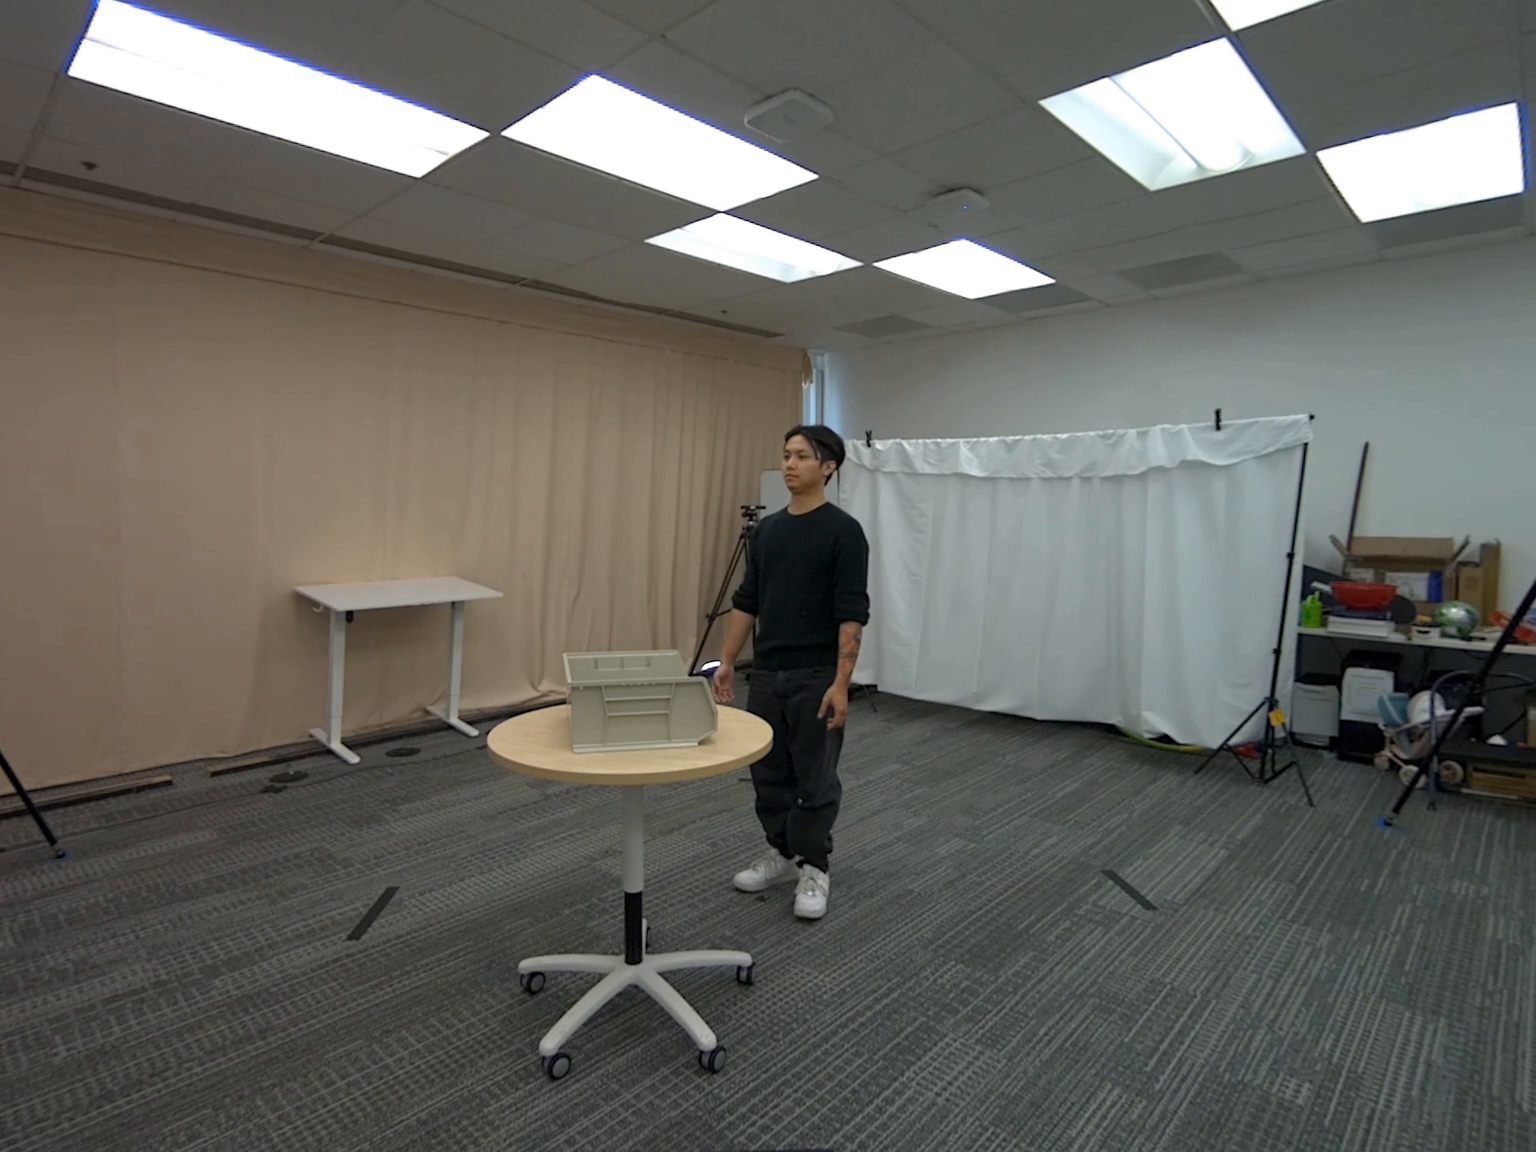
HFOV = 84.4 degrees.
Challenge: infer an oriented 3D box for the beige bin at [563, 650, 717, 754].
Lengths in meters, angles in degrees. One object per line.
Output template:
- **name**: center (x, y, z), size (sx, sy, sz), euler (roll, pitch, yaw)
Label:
- **beige bin**: center (-0.359, 0.331, 2.301), size (0.372, 0.188, 0.429), euler (-2, 5, -14)
